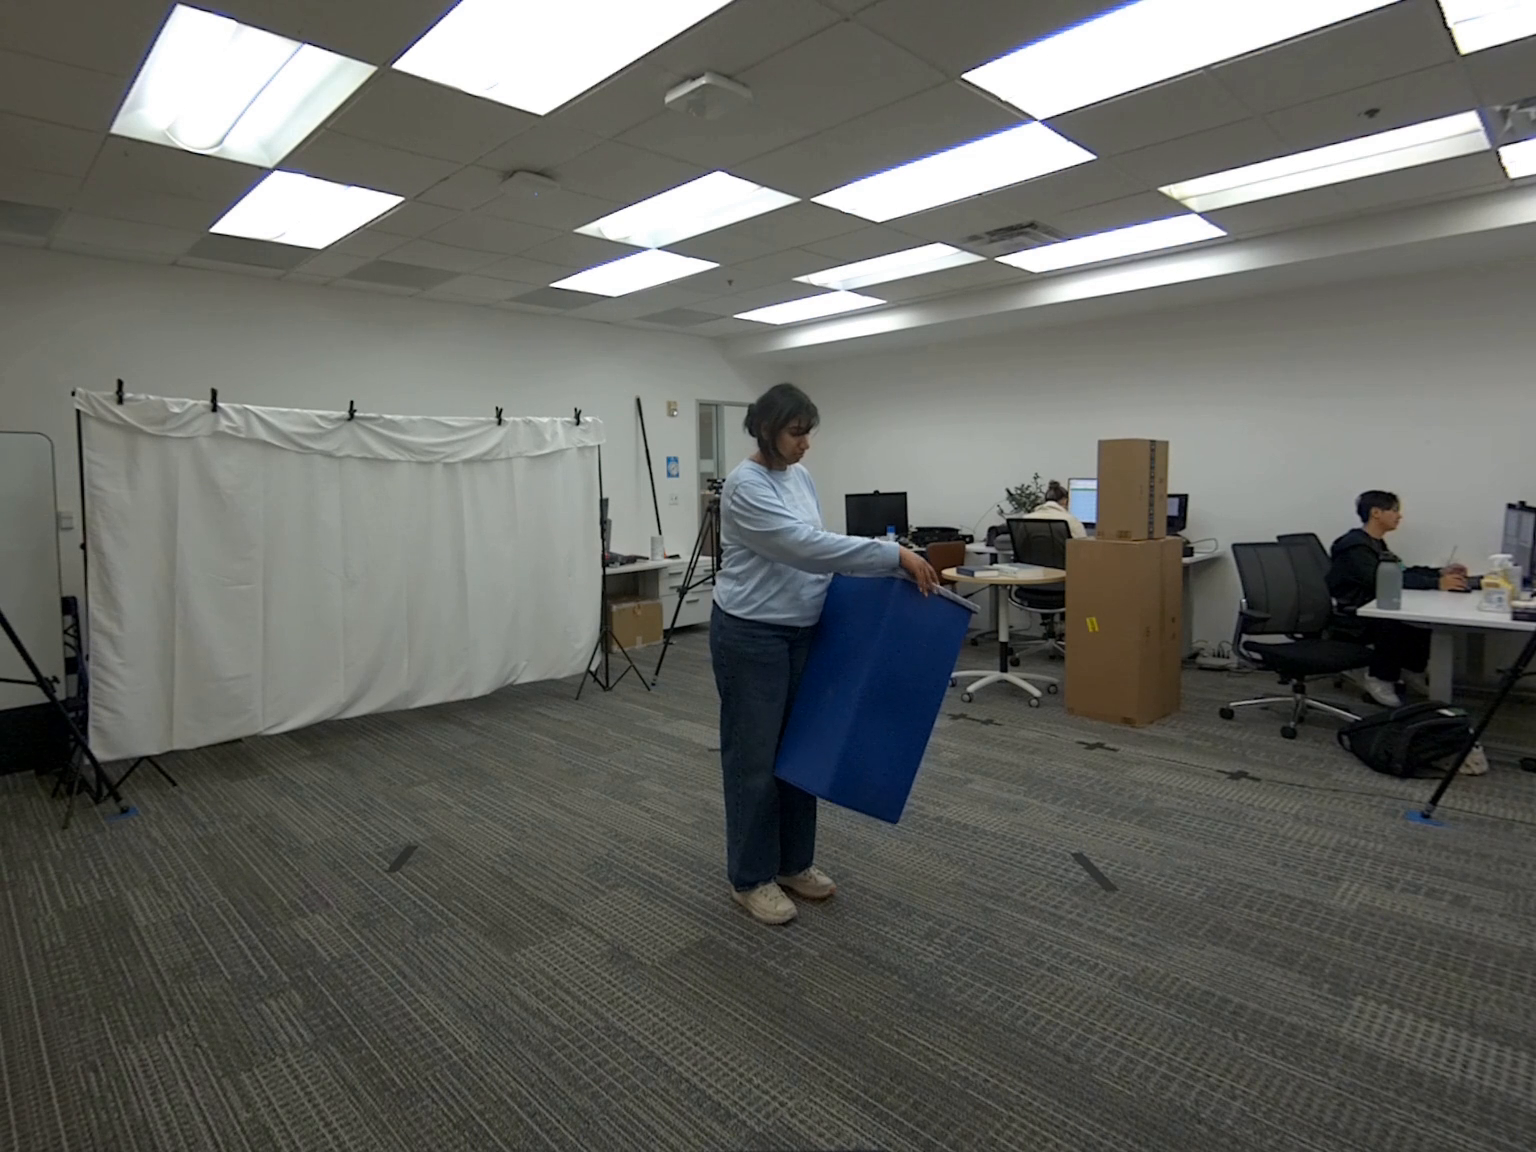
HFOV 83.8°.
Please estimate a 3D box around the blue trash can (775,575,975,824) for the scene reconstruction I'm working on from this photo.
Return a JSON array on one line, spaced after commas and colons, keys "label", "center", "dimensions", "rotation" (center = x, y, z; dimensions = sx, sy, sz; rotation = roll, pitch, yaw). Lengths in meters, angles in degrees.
[{"label": "blue trash can", "center": [0.320, 0.355, 2.685], "dimensions": [0.363, 0.718, 0.387], "rotation": [26, -13, -28]}]
